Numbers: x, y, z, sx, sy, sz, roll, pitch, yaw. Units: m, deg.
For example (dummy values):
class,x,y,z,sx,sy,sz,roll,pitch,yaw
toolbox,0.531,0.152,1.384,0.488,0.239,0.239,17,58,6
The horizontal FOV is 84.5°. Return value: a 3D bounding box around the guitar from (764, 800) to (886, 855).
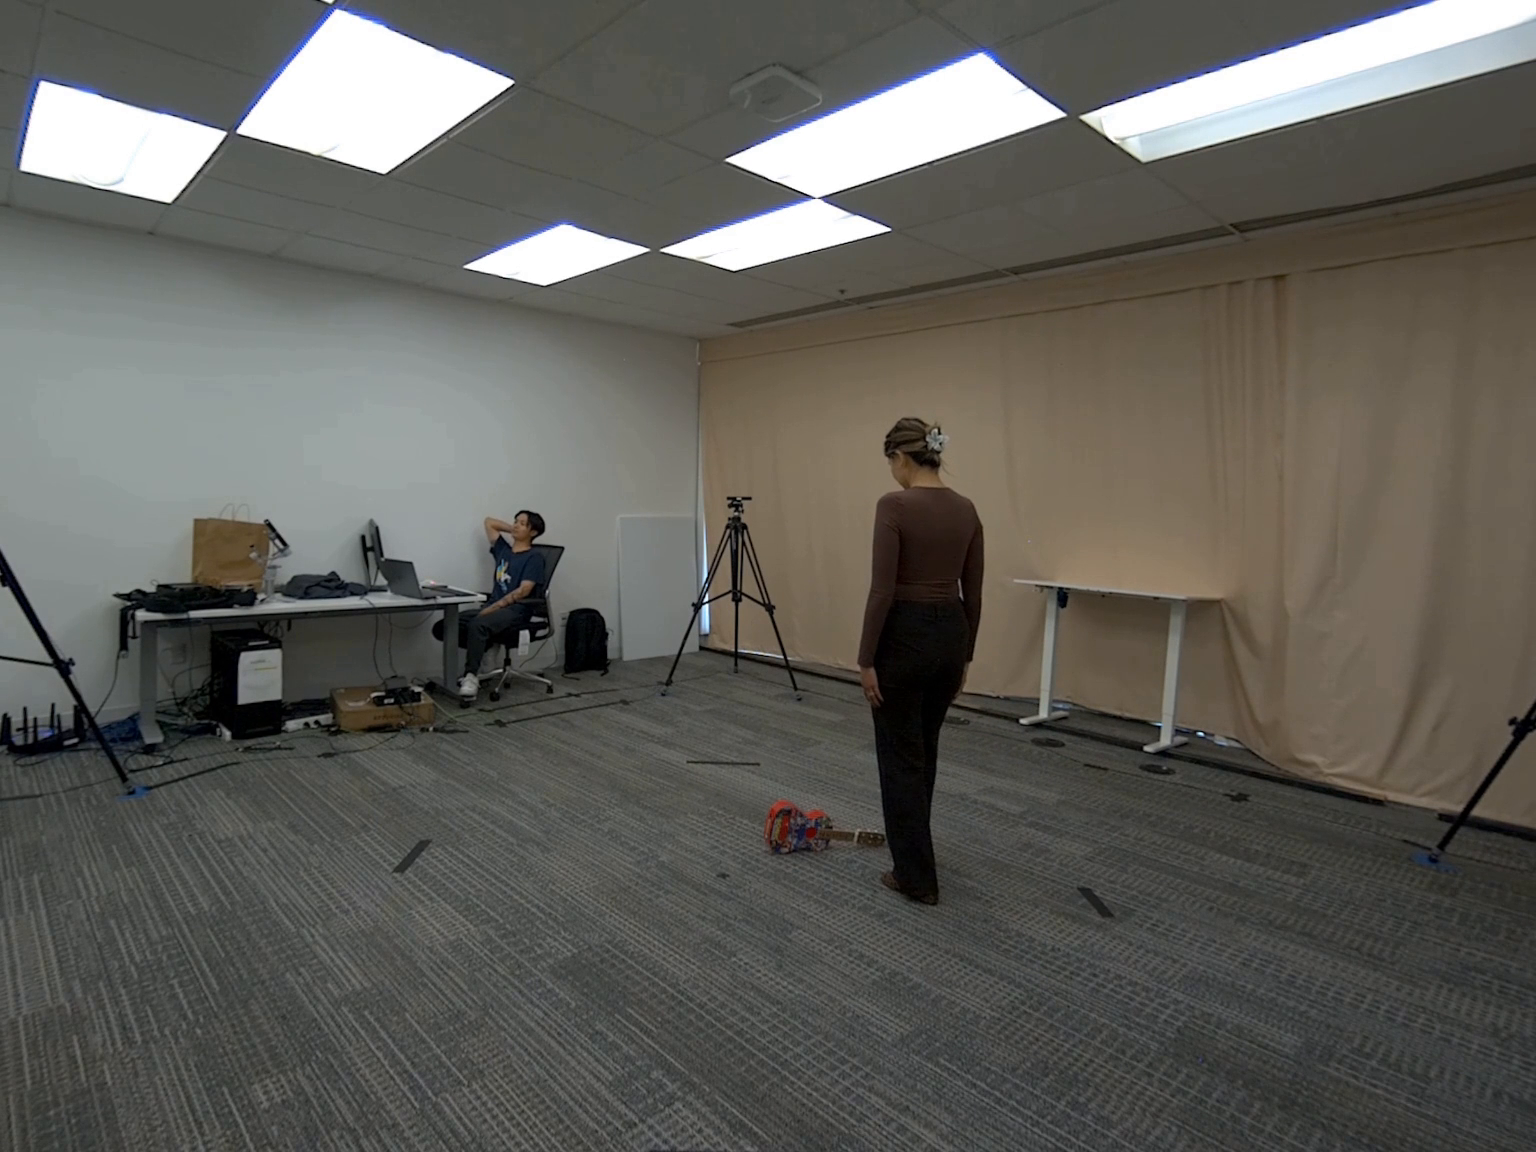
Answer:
class,x,y,z,sx,sy,sz,roll,pitch,yaw
guitar,0.213,1.042,3.373,0.490,0.193,0.072,19,0,-17
